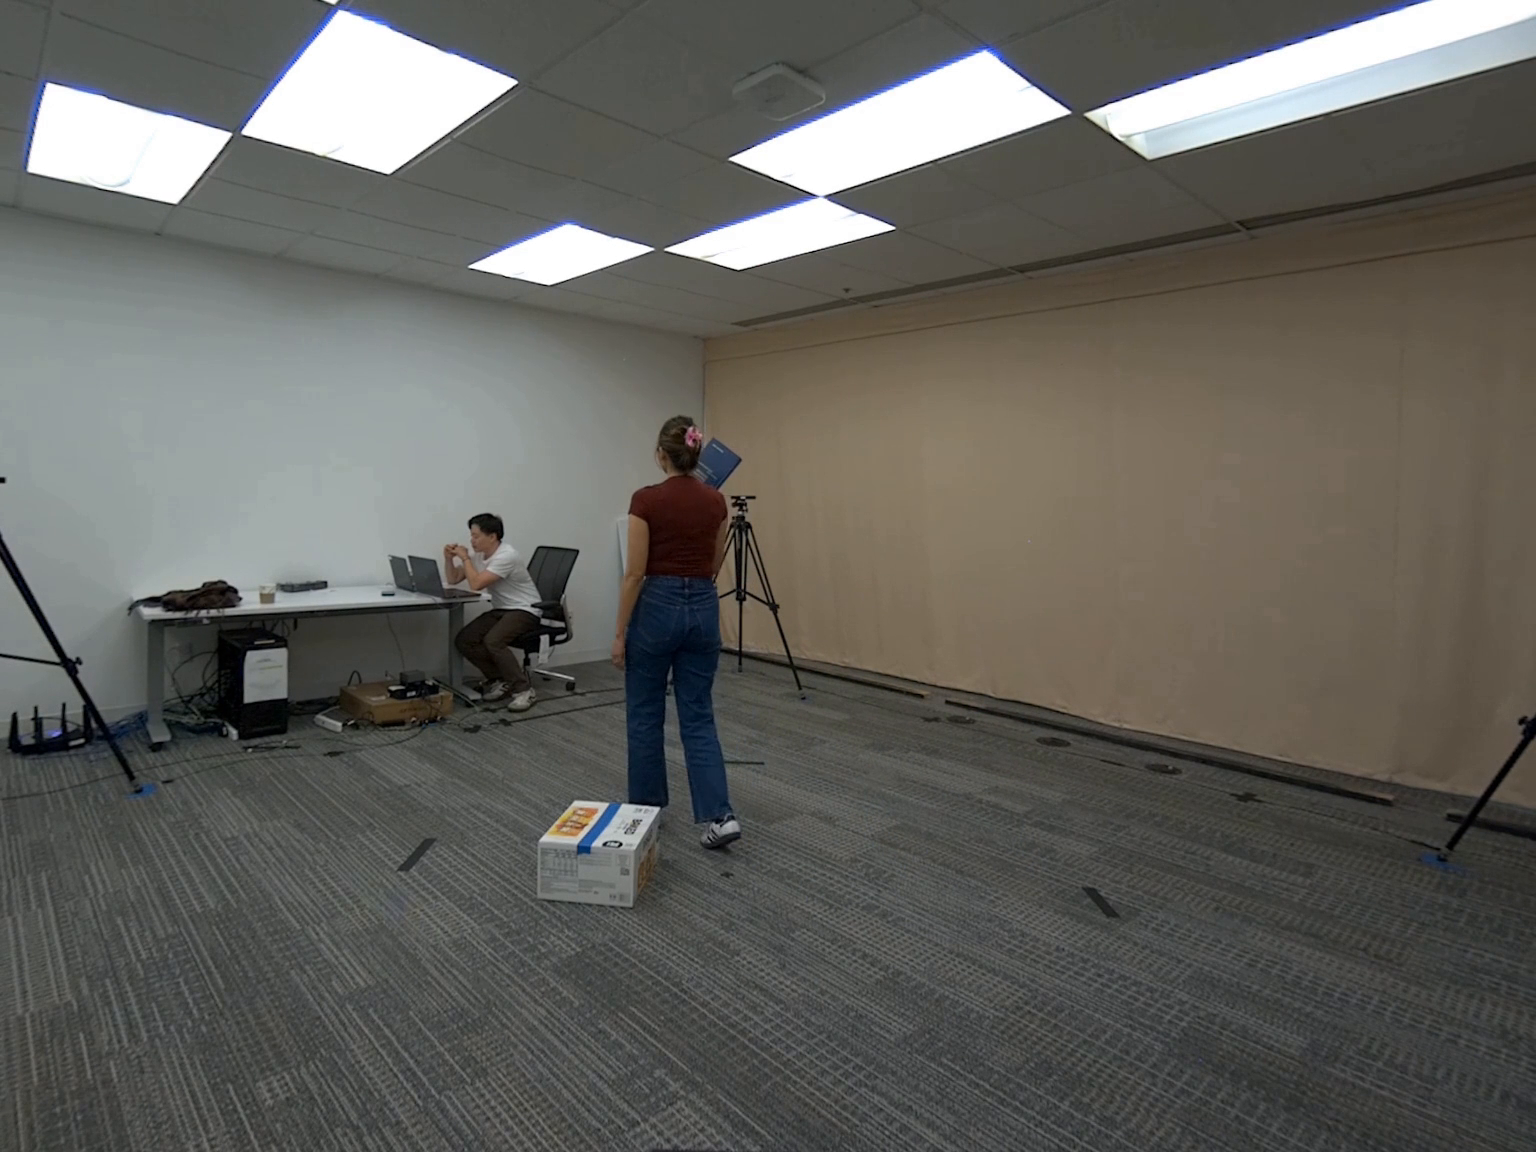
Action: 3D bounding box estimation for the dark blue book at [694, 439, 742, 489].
[{"bbox_3d":[-0.260,-0.469,3.718,0.166,0.245,0.044,39,-2,15],"label":"dark blue book"}]
